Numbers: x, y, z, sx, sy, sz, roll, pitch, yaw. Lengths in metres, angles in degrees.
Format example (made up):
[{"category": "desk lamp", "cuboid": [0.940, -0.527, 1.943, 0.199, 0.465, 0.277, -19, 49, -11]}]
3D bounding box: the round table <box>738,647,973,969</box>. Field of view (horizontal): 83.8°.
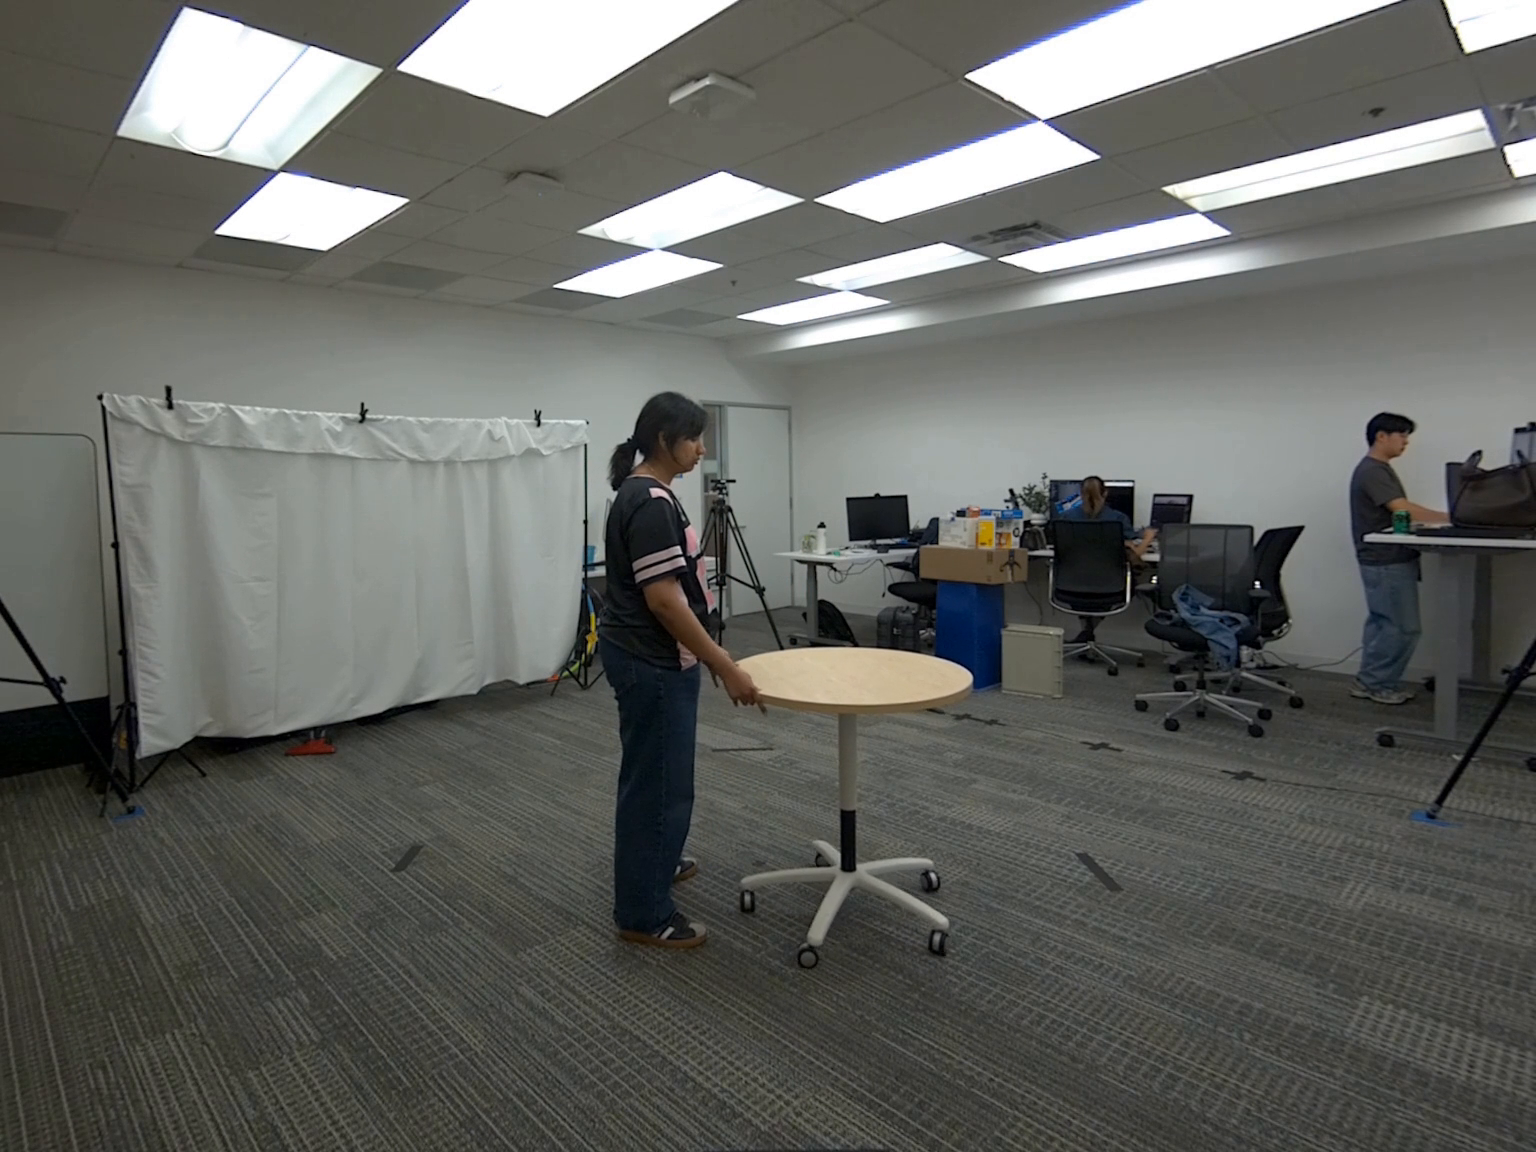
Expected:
[{"category": "round table", "cuboid": [0.255, 0.693, 2.735, 0.763, 0.791, 0.768, -1, 5, -2]}]
